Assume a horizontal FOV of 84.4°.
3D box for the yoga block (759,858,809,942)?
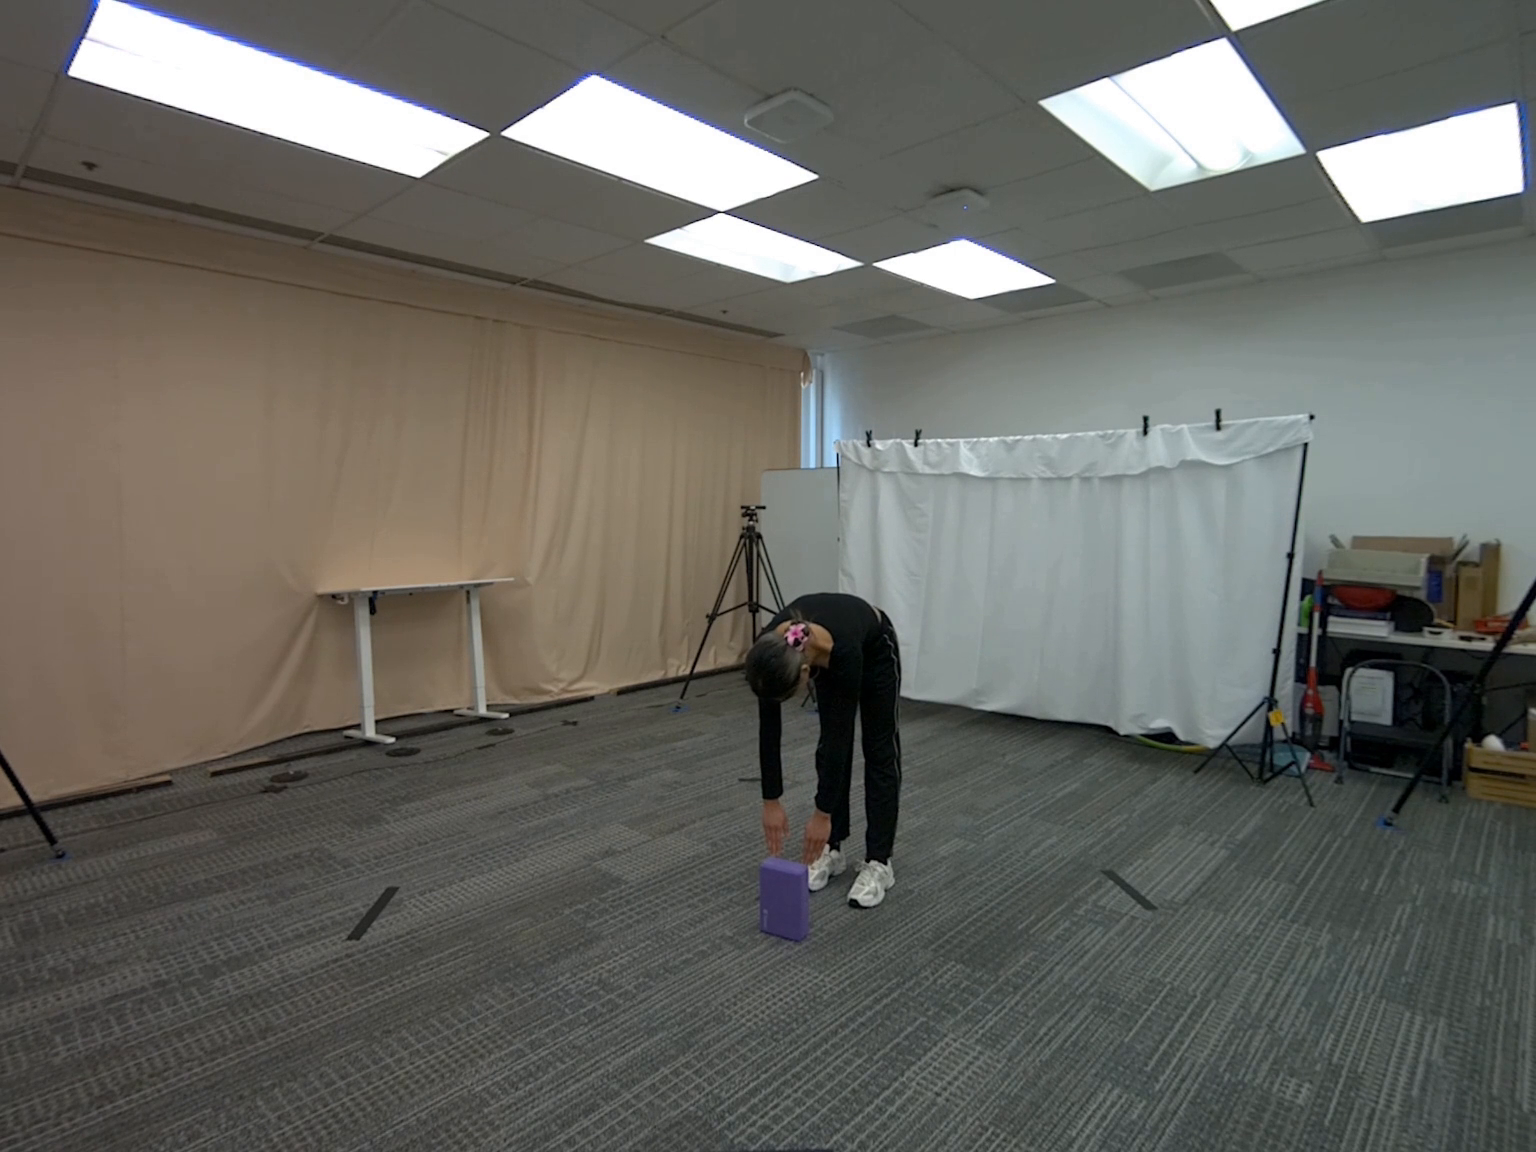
[{"bbox_3d":[0.058,1.050,2.738,0.153,0.229,0.074,2,2,28],"label":"yoga block"}]
